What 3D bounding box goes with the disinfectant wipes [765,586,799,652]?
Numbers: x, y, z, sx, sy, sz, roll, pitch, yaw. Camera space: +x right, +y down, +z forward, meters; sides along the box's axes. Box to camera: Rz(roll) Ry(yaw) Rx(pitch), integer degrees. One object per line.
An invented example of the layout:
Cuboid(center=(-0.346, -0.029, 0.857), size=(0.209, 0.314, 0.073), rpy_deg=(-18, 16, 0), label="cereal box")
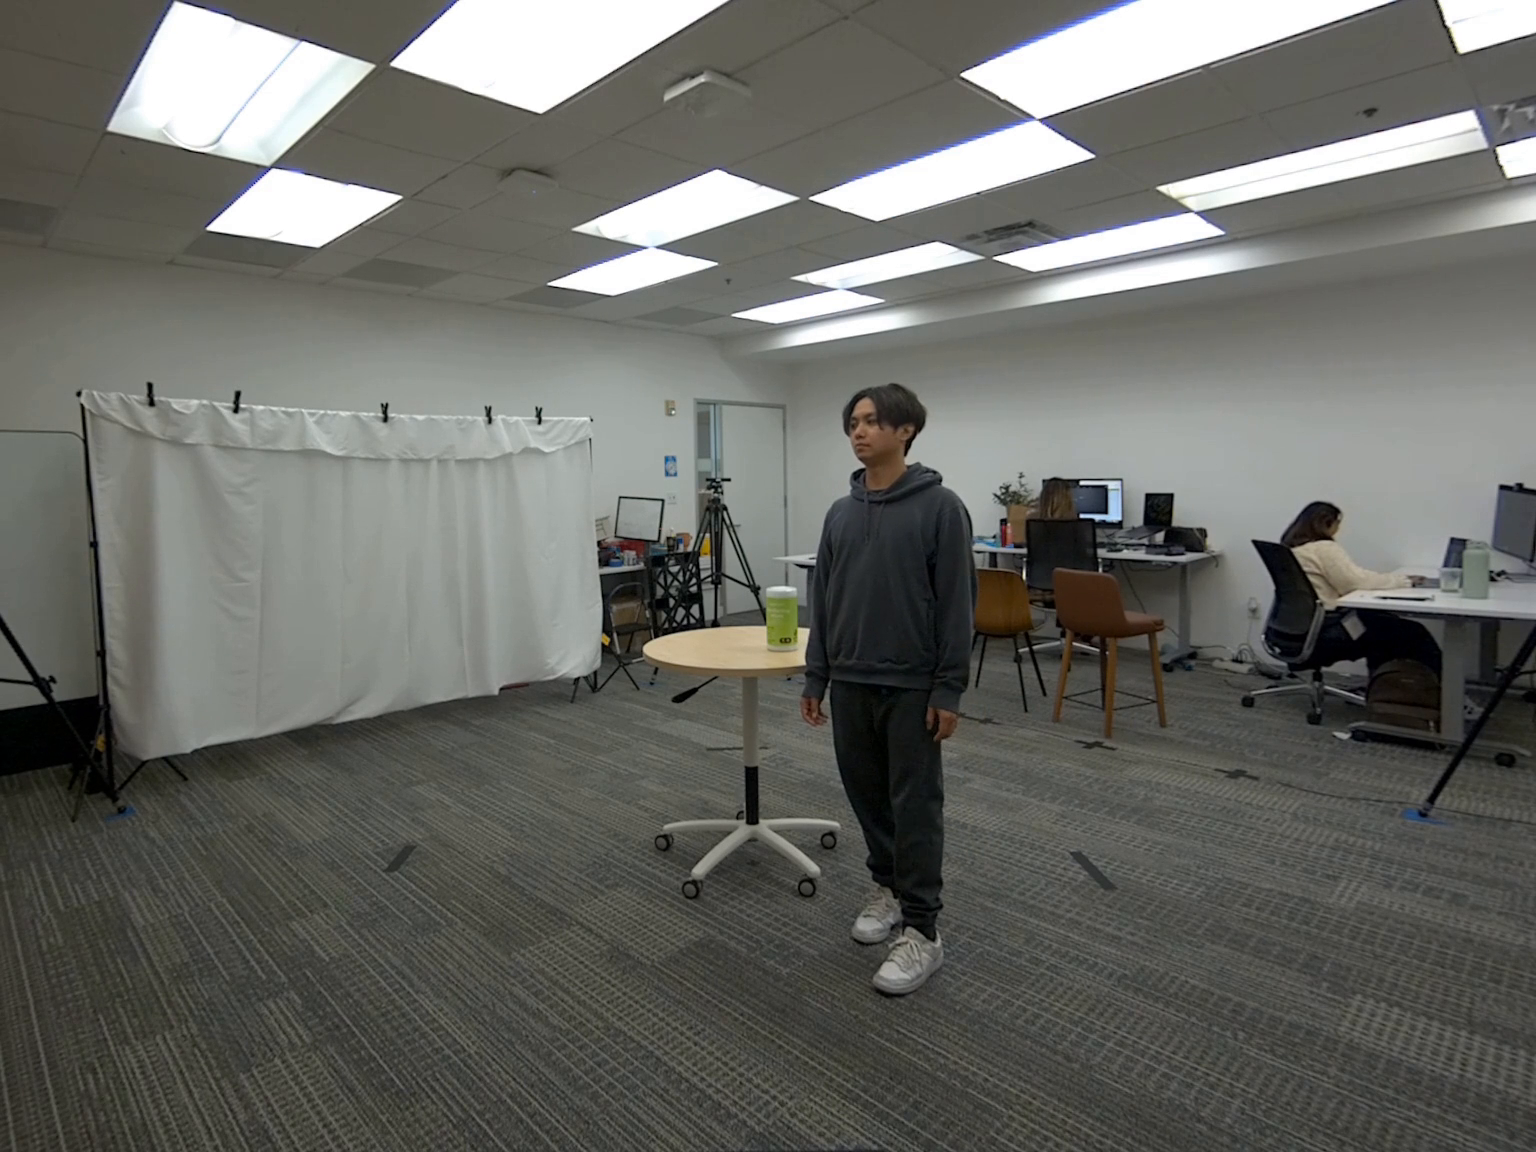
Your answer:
Cuboid(center=(0.049, 0.152, 2.993), size=(0.118, 0.216, 0.118), rpy_deg=(0, 6, -2), label="disinfectant wipes")
